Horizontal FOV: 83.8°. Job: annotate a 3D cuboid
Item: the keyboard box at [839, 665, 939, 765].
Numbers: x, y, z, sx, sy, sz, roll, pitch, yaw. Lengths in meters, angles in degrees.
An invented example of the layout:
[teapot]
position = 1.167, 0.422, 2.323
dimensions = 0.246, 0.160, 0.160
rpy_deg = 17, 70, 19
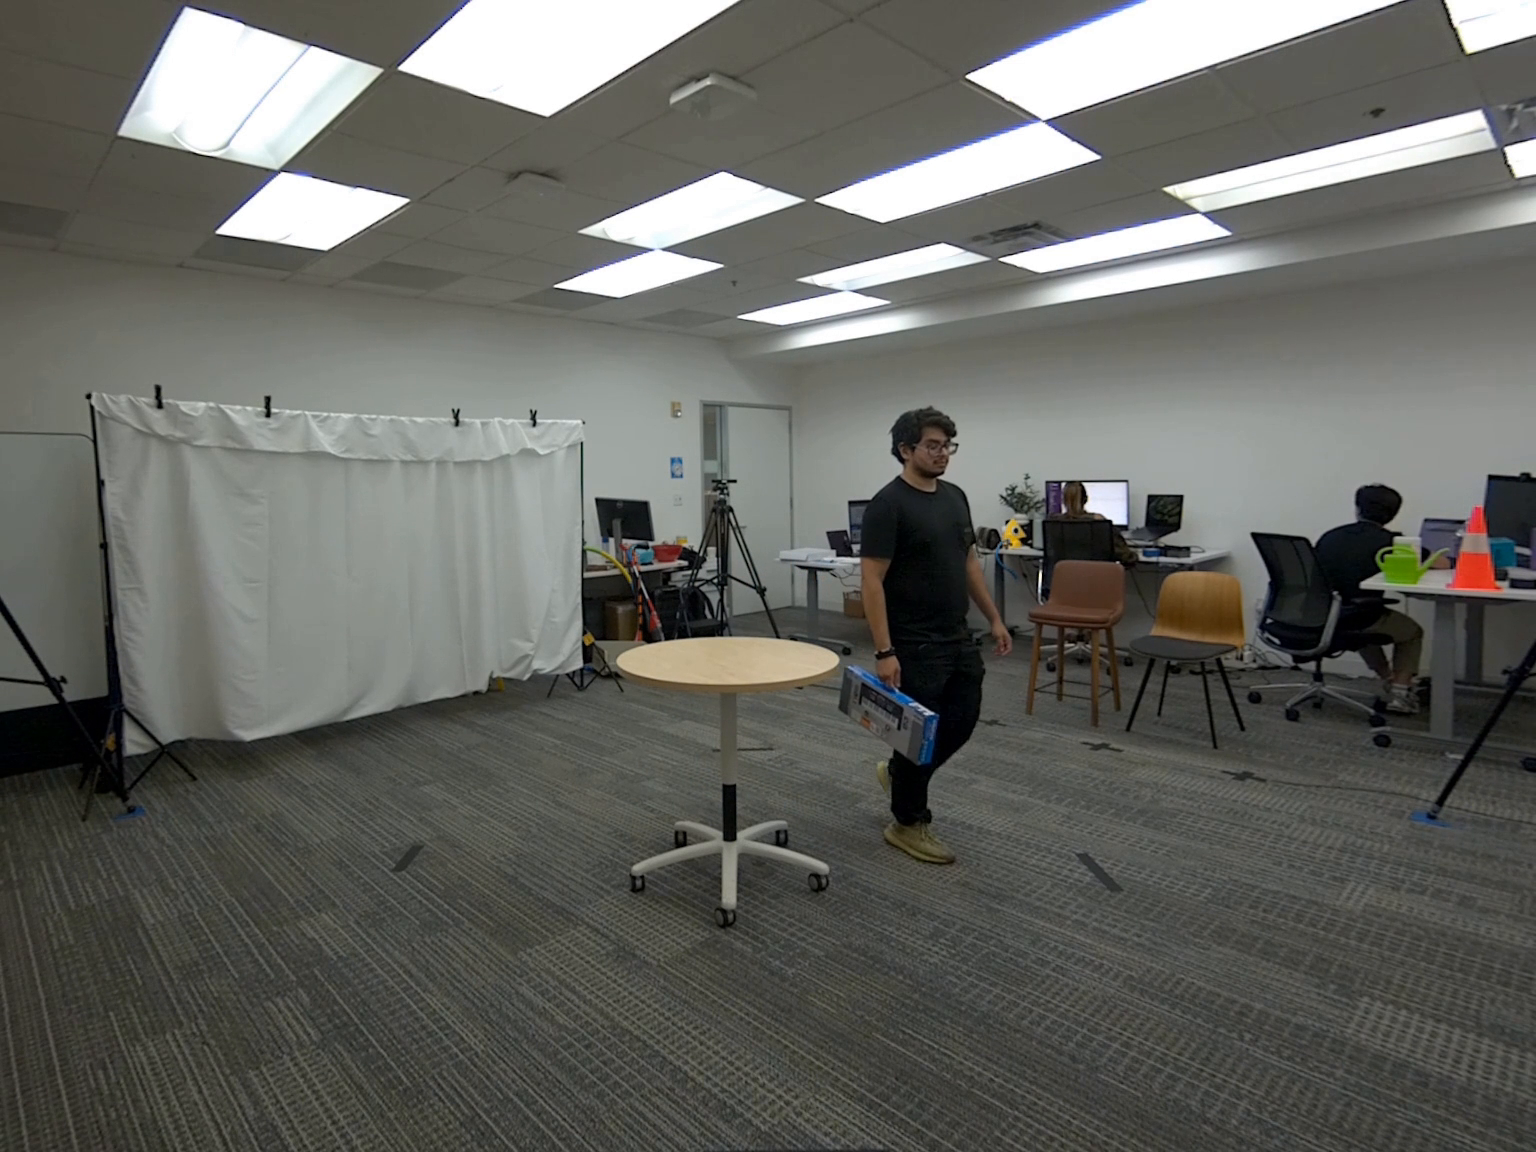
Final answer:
[keyboard box]
position = 0.414, 0.473, 2.965
dimensions = 0.057, 0.174, 0.452
rpy_deg = -1, 16, -32
